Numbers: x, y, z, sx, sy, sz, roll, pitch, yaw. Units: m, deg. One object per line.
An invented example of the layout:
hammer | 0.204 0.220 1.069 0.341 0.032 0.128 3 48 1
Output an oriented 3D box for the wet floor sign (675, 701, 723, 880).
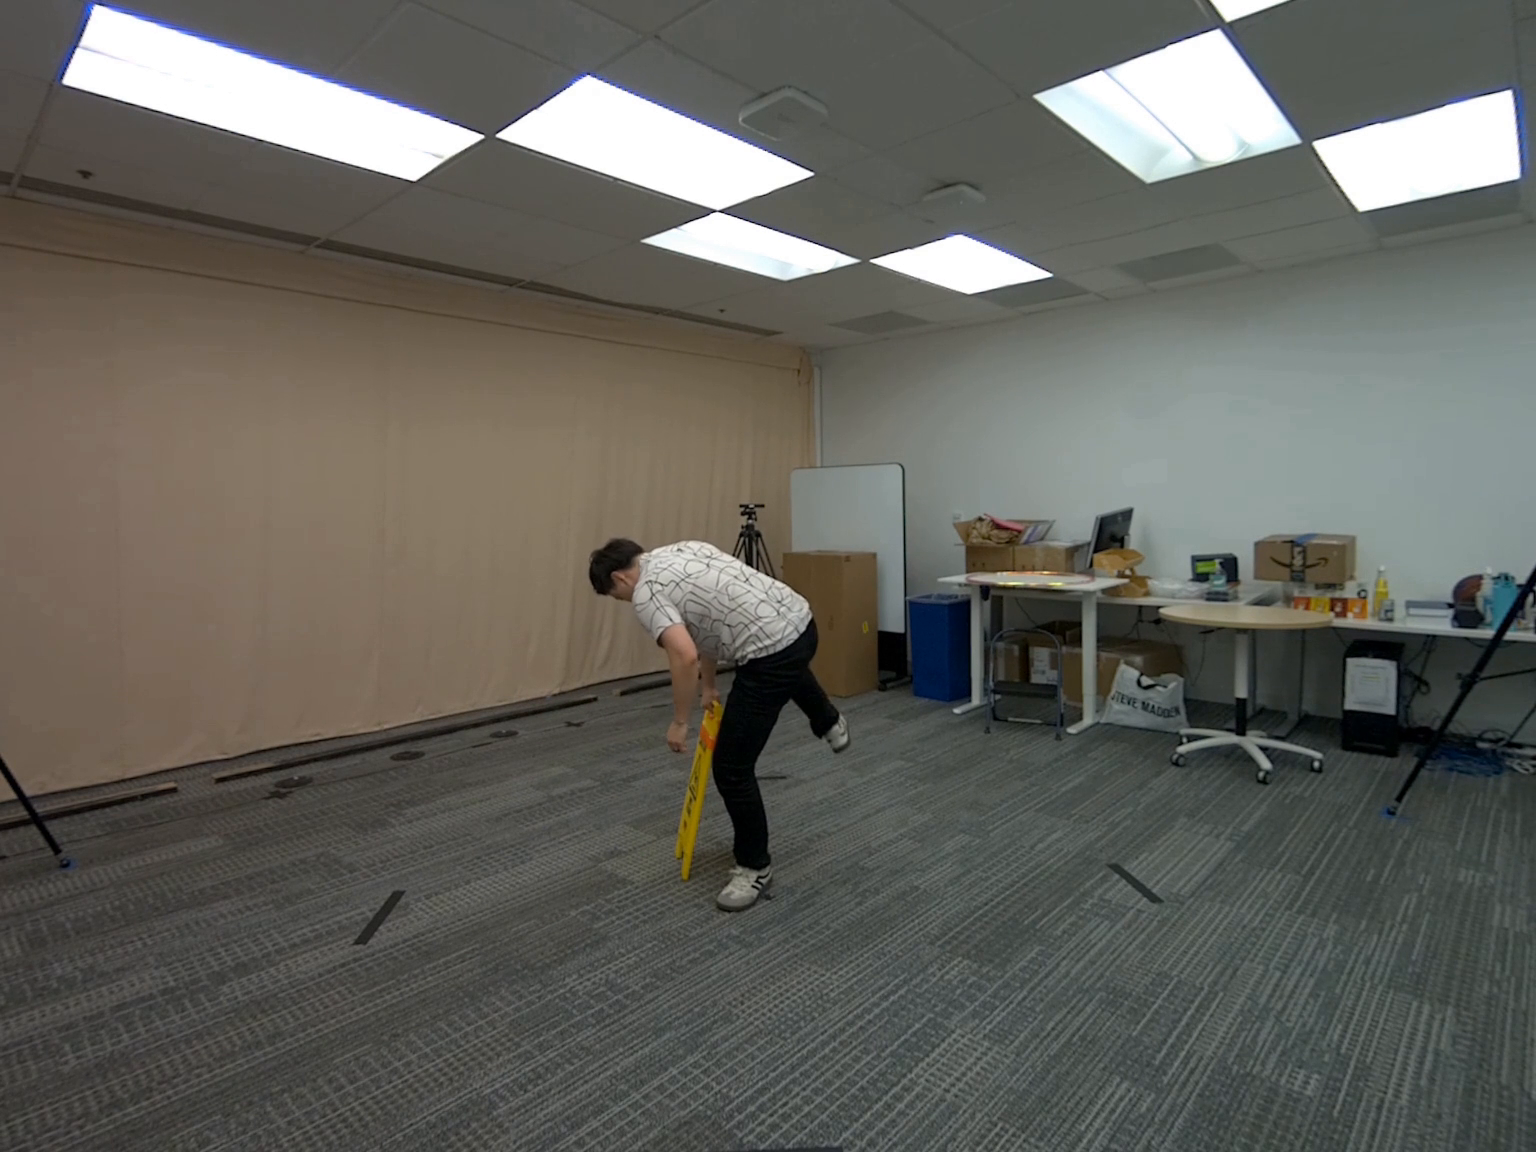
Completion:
wet floor sign | -0.201 0.793 3.274 0.286 0.645 0.286 -2 2 -12
